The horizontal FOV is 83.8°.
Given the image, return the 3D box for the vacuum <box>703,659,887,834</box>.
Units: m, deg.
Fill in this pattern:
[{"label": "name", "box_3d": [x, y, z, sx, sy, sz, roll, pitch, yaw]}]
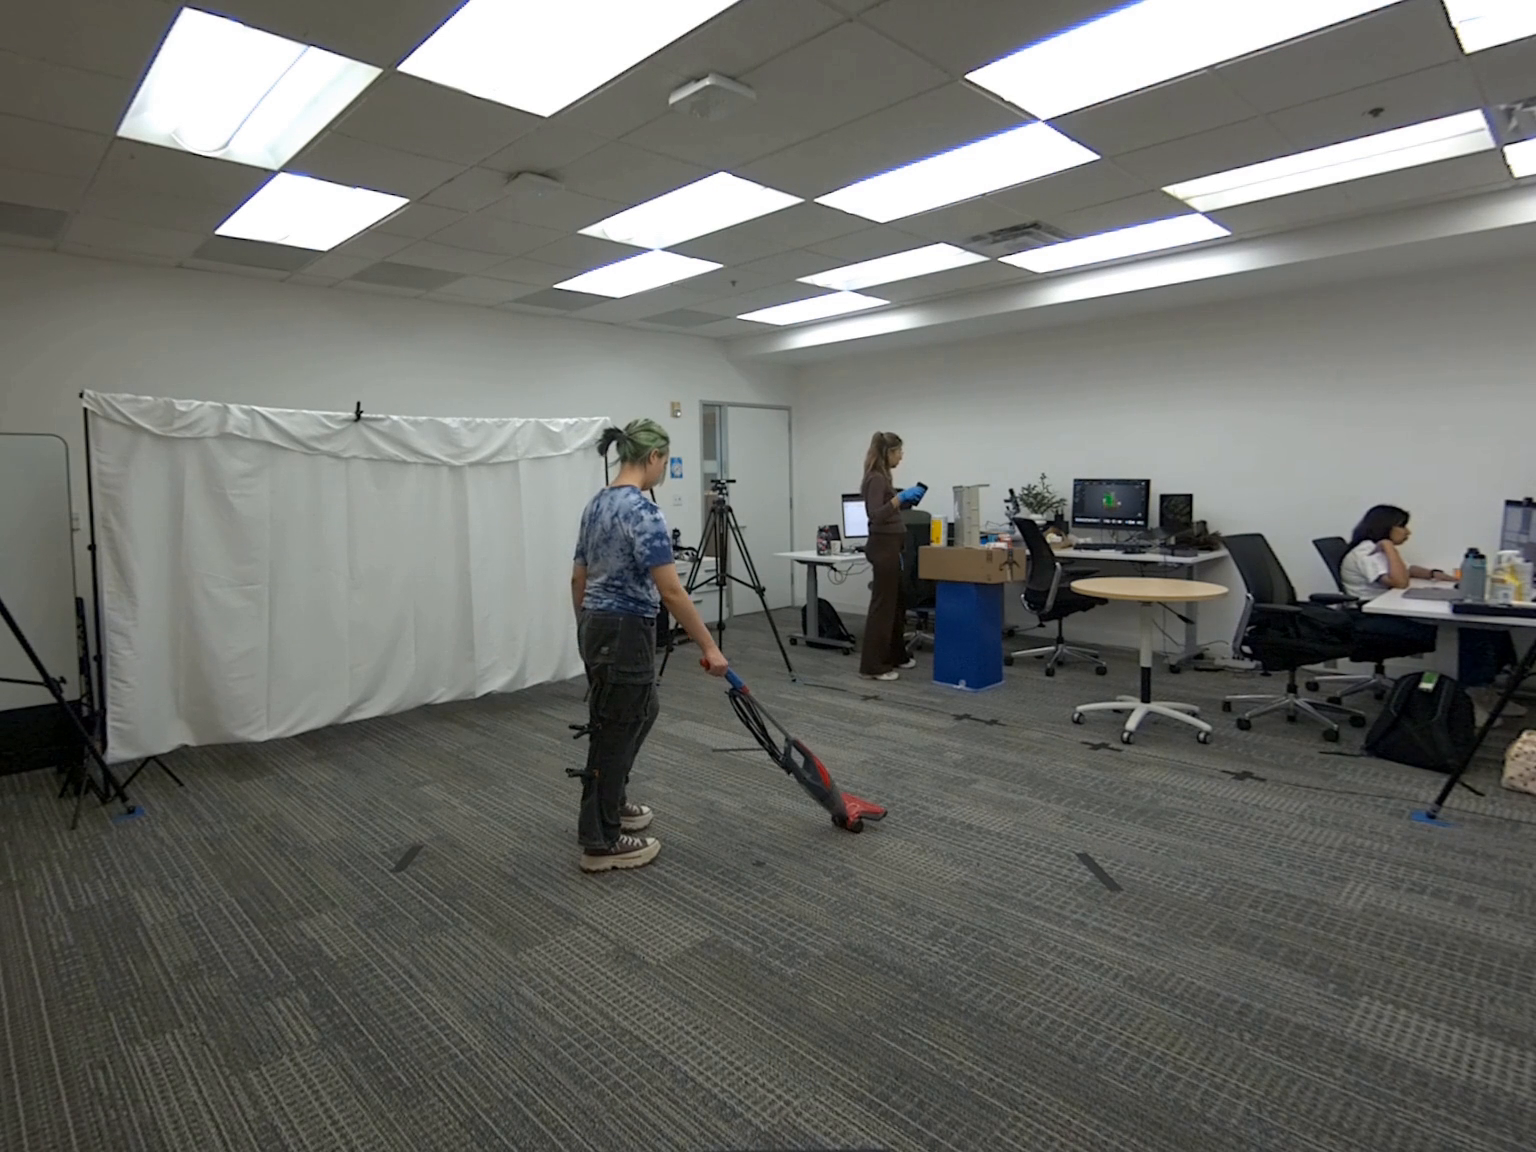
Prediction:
[{"label": "vacuum", "box_3d": [0.052, 0.636, 3.204, 0.259, 0.145, 1.016, -1, -41, 51]}]
